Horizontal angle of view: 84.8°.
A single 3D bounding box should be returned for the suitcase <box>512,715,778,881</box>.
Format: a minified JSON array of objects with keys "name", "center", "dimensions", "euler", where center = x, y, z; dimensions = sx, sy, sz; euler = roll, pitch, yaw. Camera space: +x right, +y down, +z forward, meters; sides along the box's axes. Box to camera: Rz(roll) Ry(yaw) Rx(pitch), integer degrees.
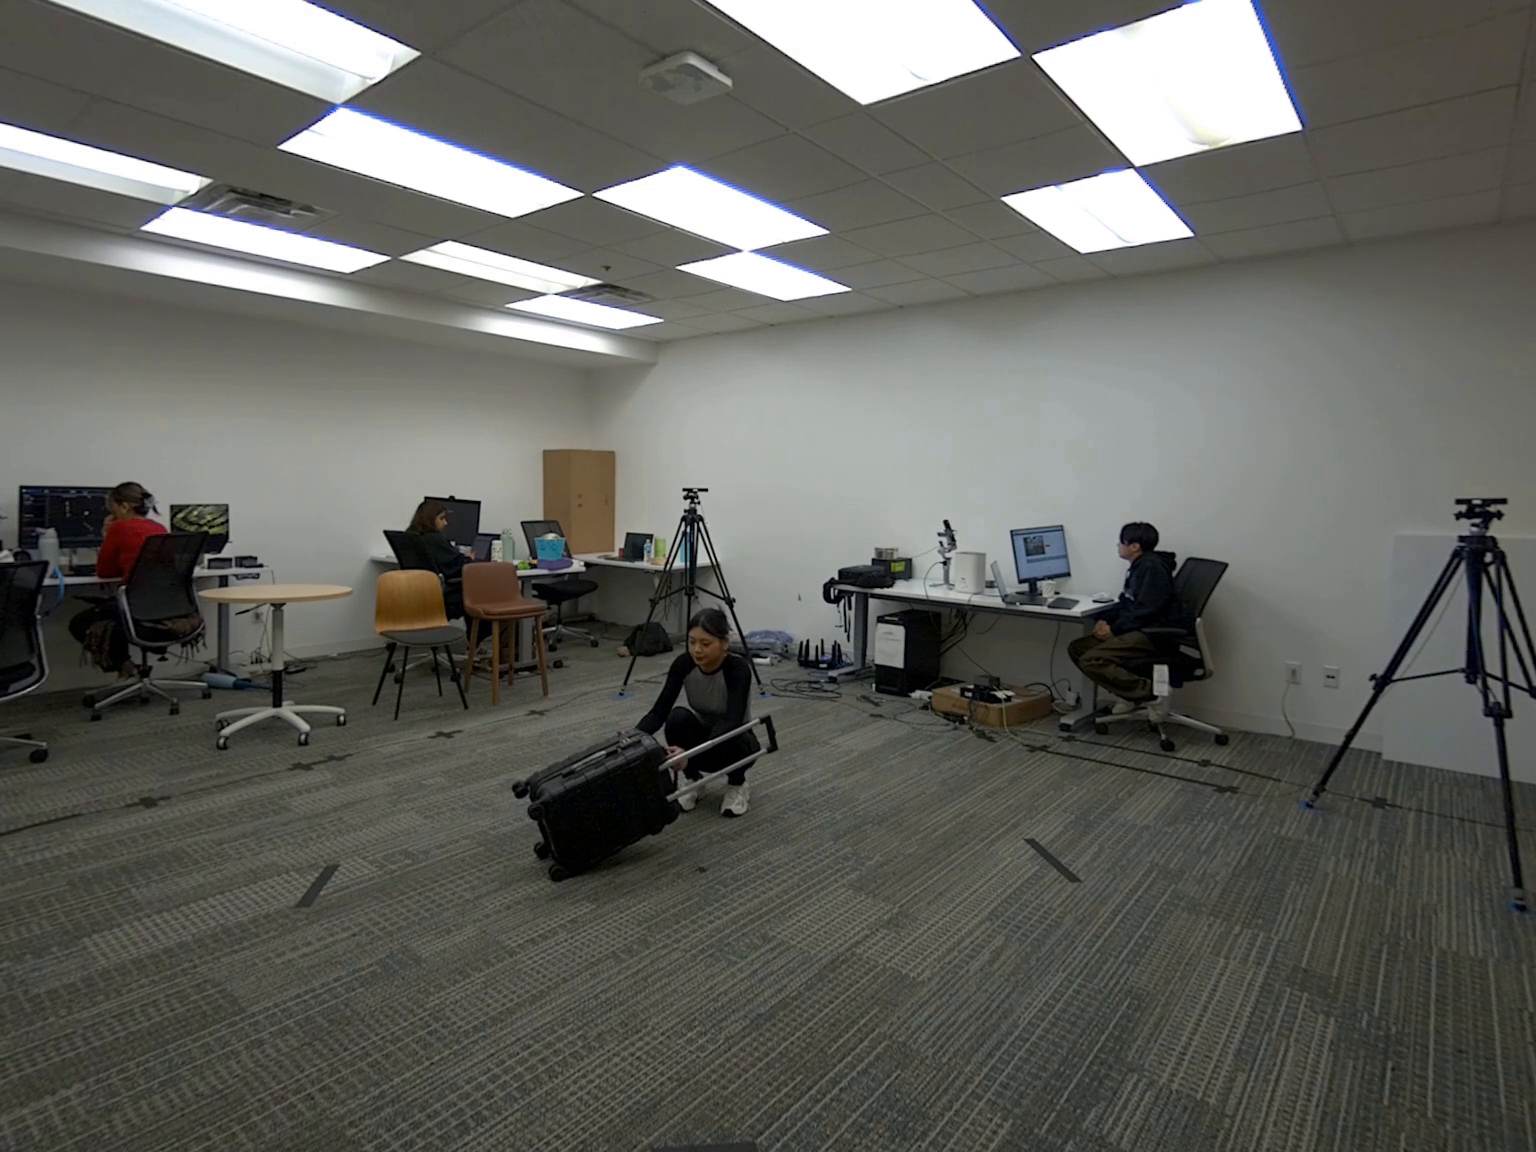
[{"name":"suitcase","center":[-0.465,0.752,3.248],"dimensions":[0.964,0.379,0.264],"euler":[-22,12,-26]}]
